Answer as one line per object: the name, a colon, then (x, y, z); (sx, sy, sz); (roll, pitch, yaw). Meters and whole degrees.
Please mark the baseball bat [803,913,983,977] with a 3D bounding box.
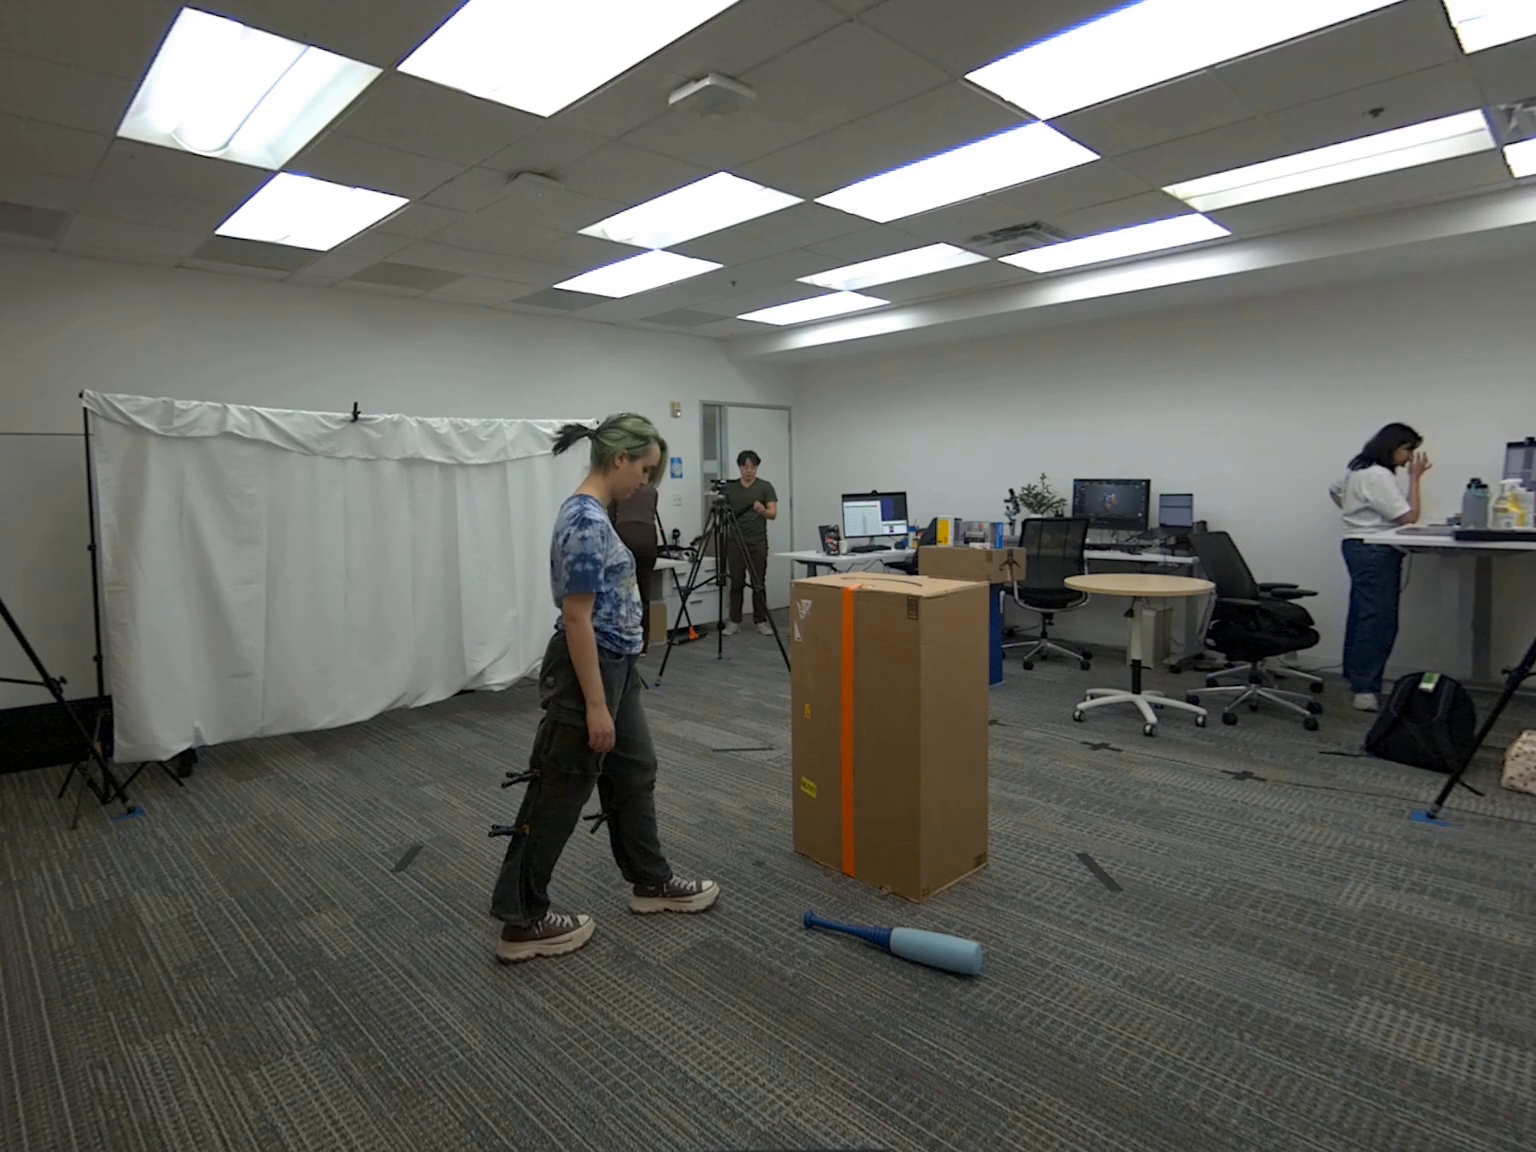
baseball bat: (0.362, 1.080, 2.515); (0.556, 0.089, 0.087); (-3, 3, 32)
